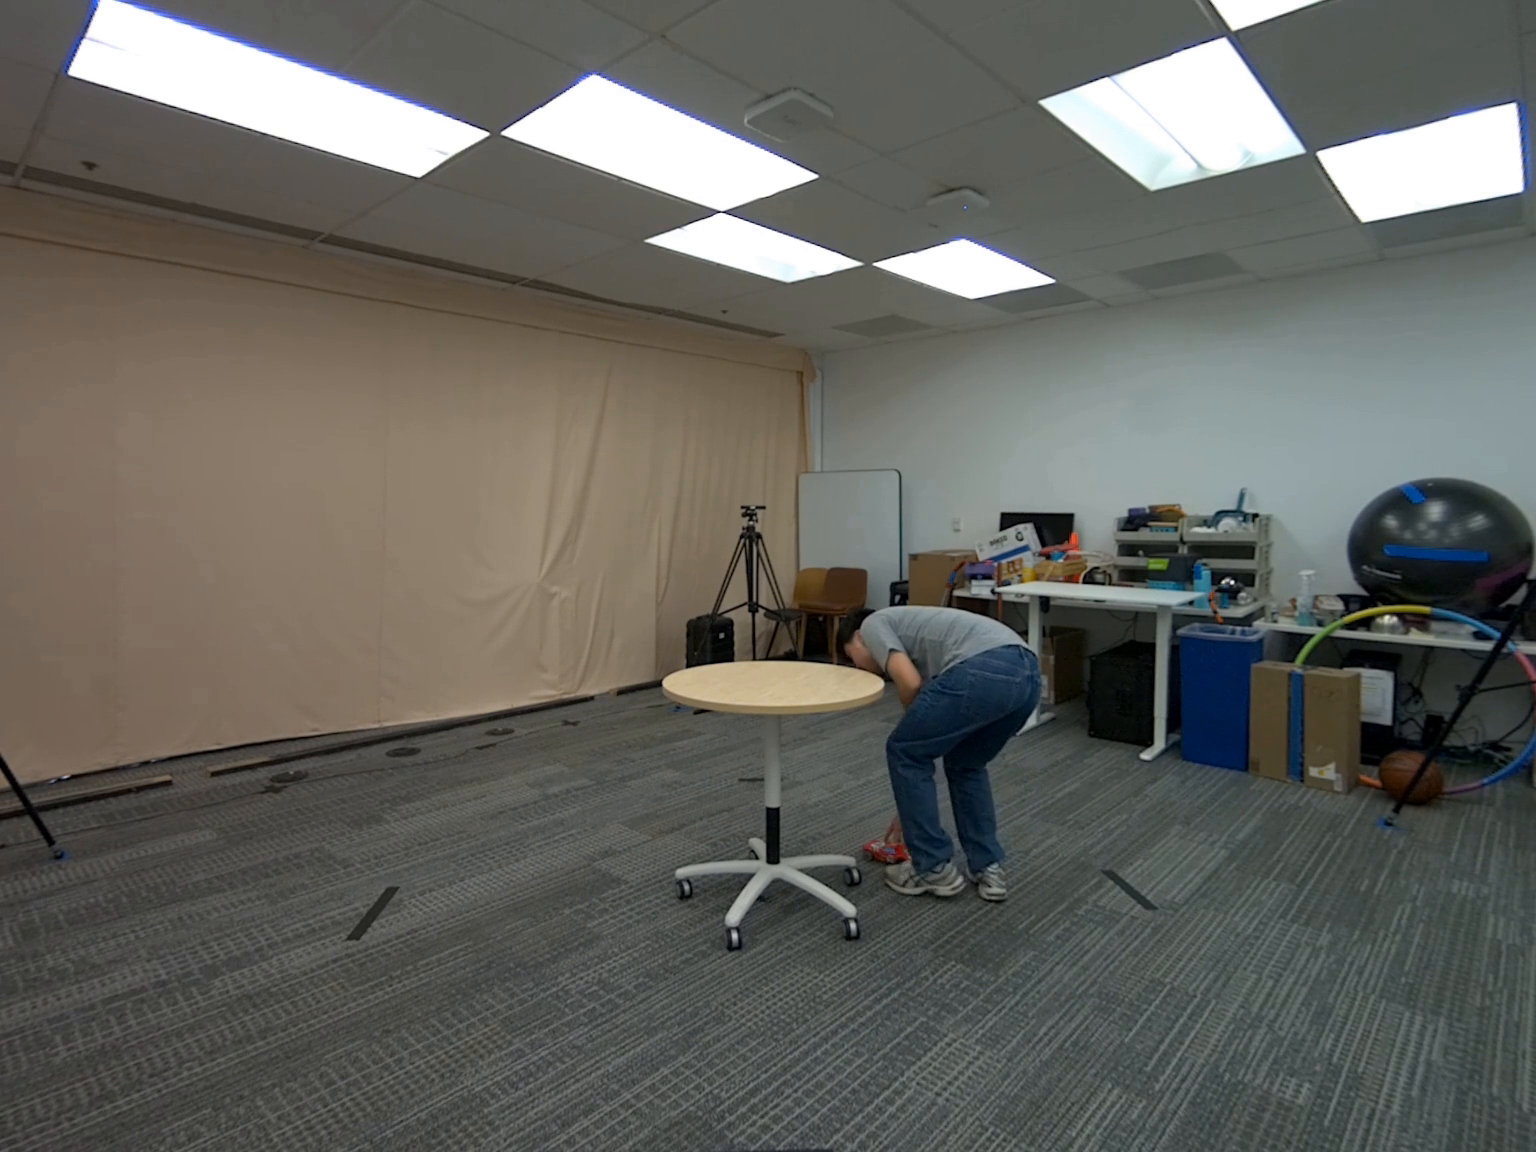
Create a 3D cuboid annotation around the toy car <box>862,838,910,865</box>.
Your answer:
[{"bbox_3d":[0.505,1.087,3.278,0.262,0.083,0.126,-9,-3,38],"label":"toy car"}]
